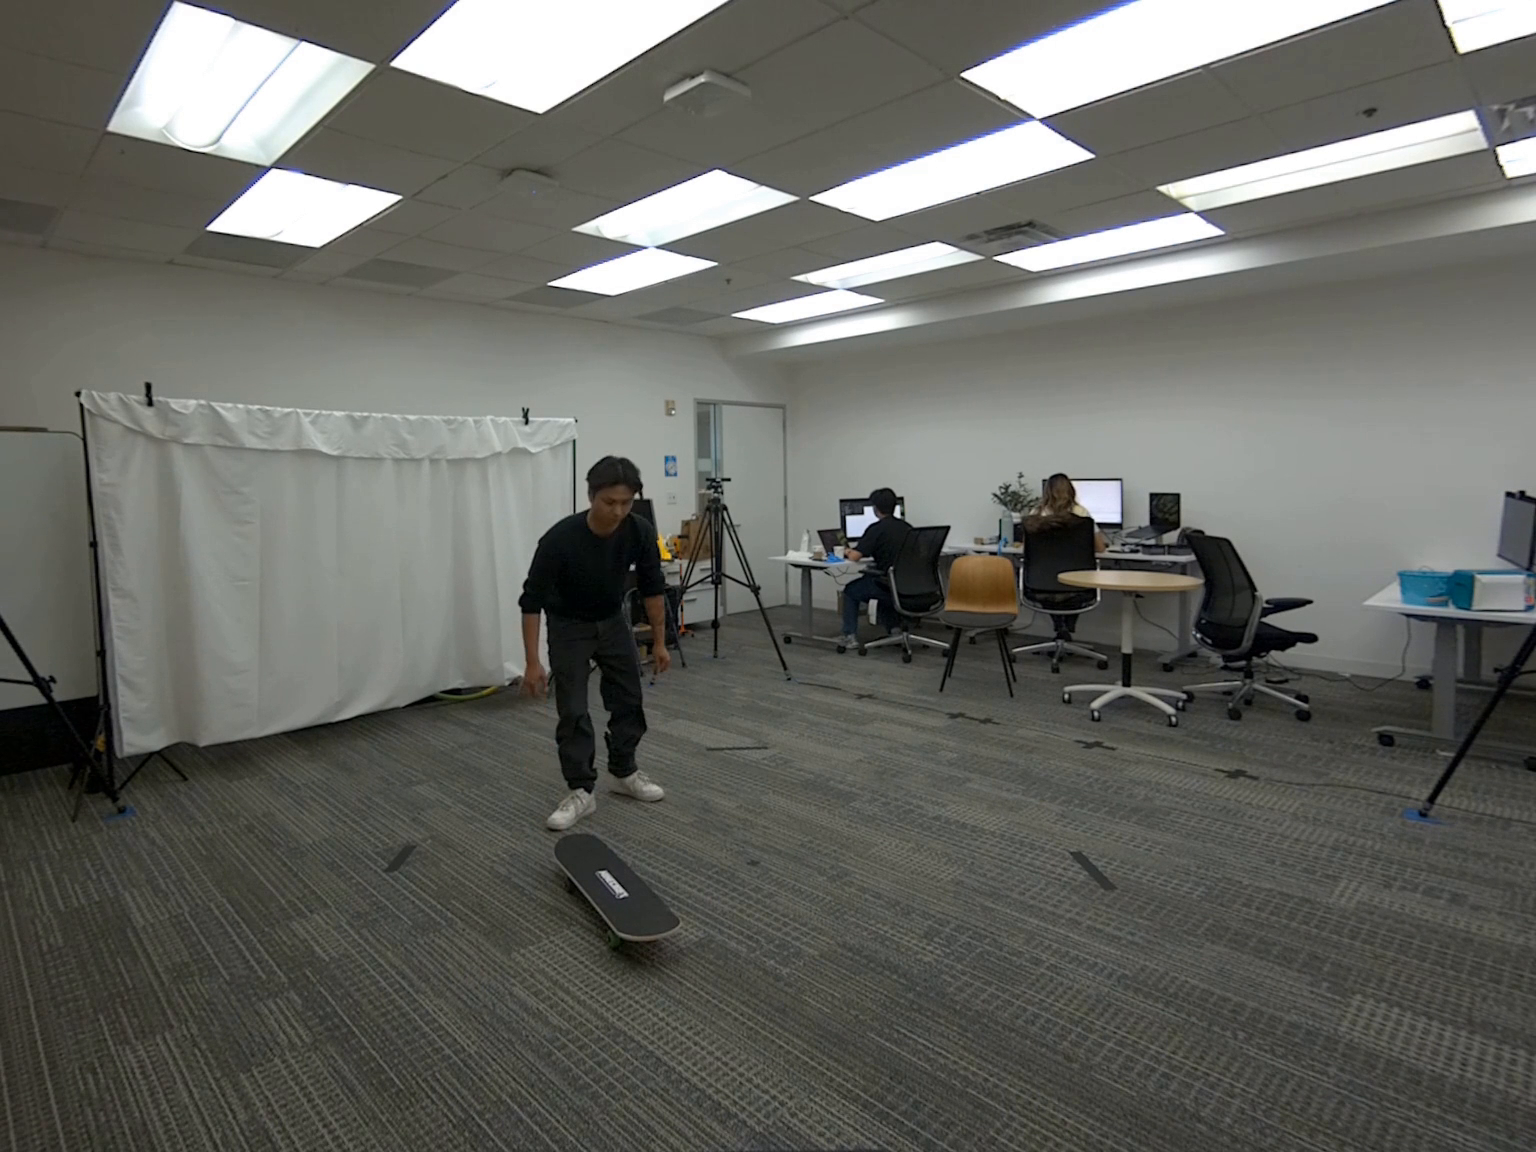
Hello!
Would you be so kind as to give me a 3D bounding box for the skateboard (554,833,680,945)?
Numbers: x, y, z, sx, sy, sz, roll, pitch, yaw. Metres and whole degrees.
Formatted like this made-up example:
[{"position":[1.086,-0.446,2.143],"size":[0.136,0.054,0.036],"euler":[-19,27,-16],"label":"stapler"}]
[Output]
[{"position":[-0.508,1.036,2.770],"size":[0.189,0.110,0.808],"euler":[-6,8,-31],"label":"skateboard"}]
